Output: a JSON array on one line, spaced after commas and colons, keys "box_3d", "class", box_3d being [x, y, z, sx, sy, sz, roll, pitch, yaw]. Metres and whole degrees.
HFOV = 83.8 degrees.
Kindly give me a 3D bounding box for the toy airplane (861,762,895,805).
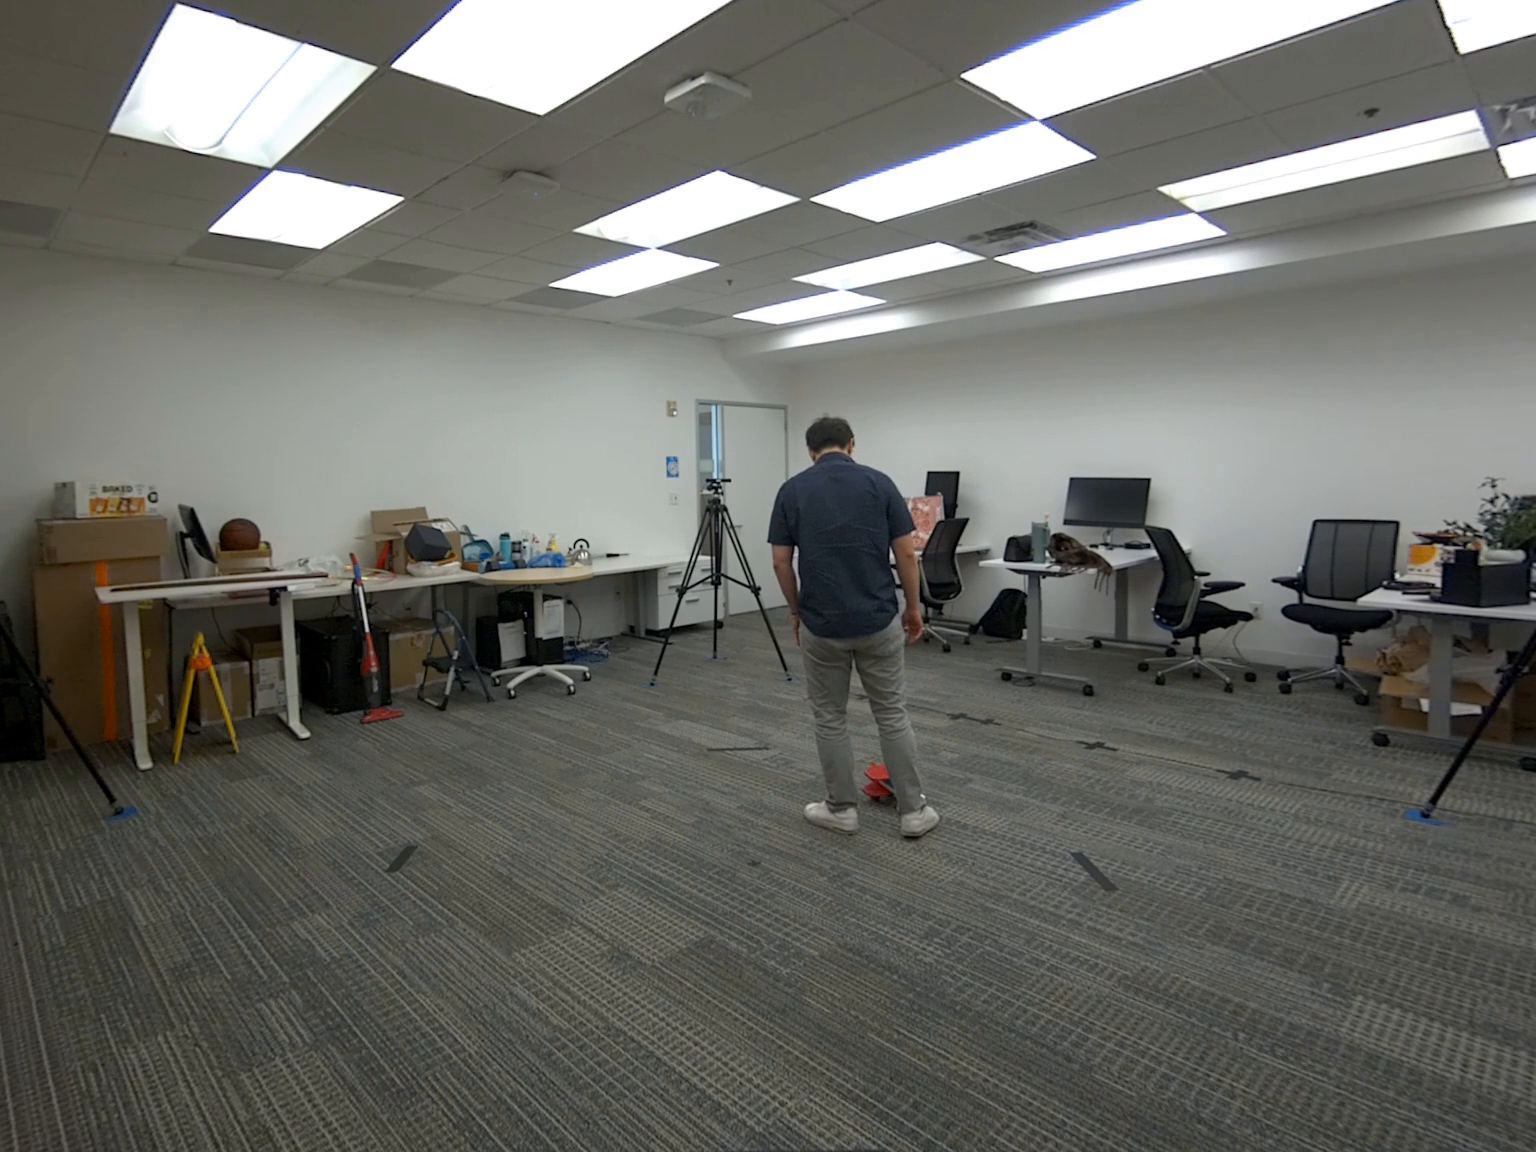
[{"box_3d": [0.564, 0.903, 3.667, 0.266, 0.156, 0.245, 0, 3, 32], "class": "toy airplane"}]
